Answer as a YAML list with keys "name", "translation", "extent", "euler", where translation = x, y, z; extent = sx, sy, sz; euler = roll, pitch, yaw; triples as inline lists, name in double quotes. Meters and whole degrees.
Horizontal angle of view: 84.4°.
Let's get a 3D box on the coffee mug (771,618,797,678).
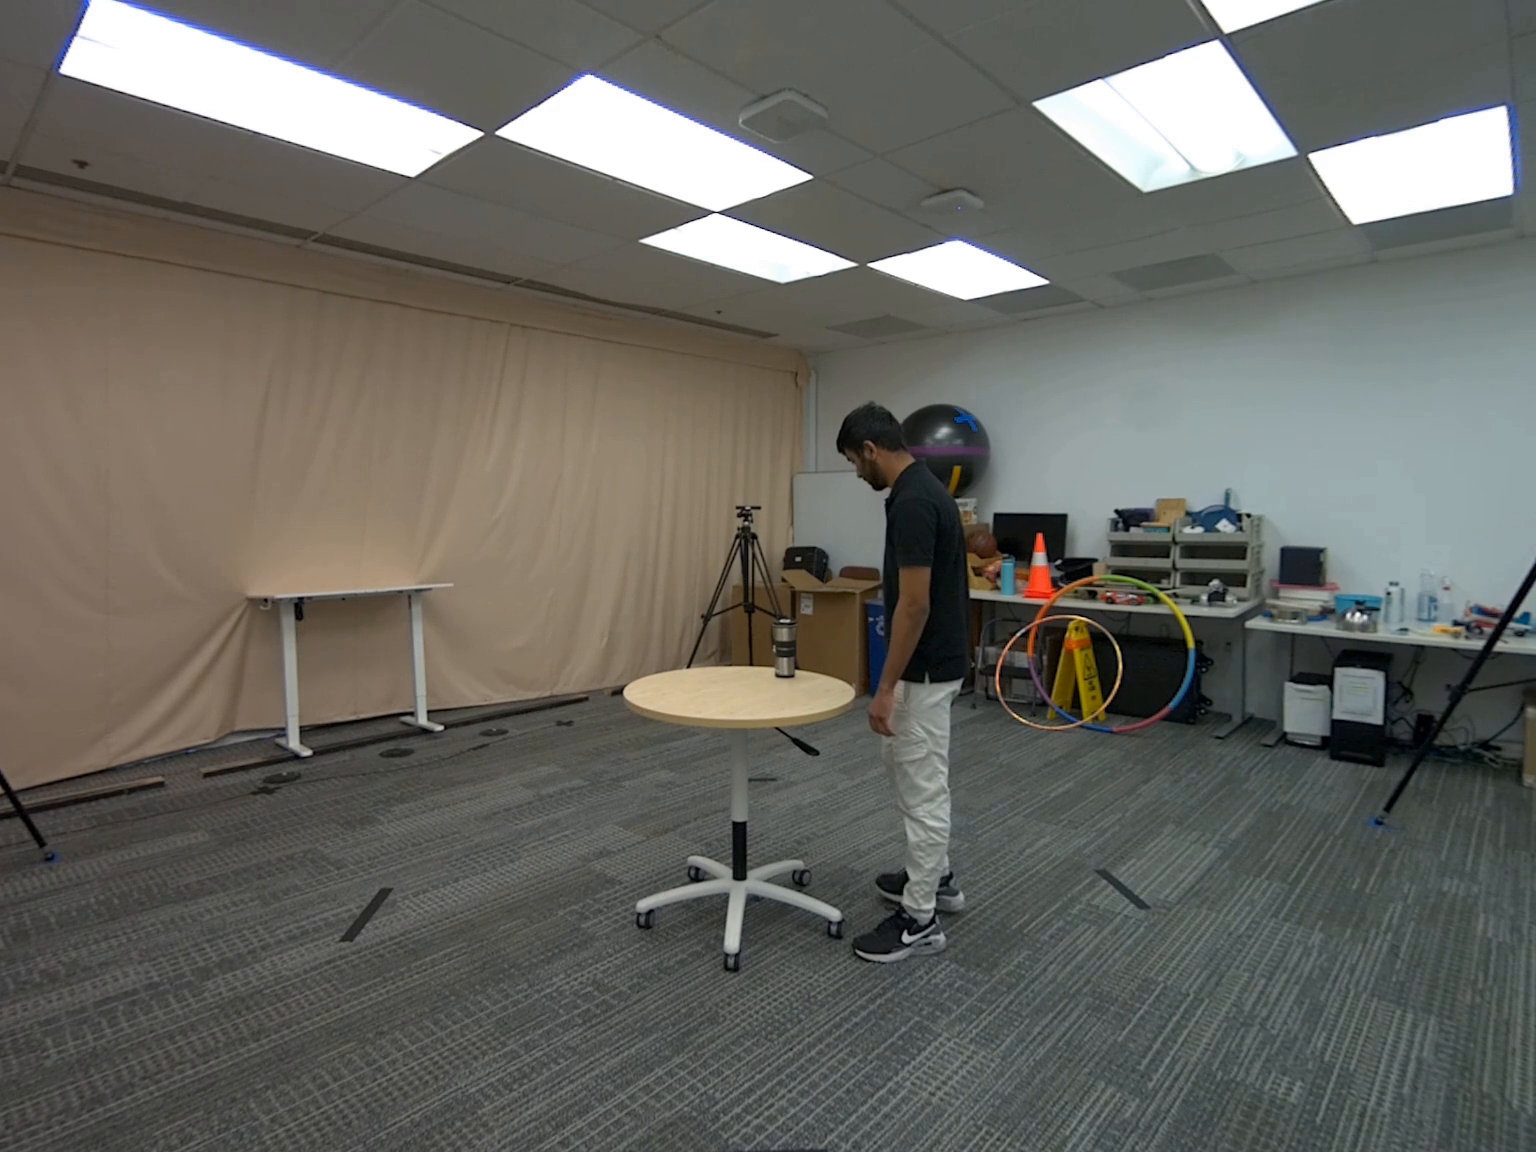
- name: "coffee mug"
  translation: [0.065, 0.256, 3.012]
  extent: [0.087, 0.202, 0.124]
  euler: [-3, 7, -11]
